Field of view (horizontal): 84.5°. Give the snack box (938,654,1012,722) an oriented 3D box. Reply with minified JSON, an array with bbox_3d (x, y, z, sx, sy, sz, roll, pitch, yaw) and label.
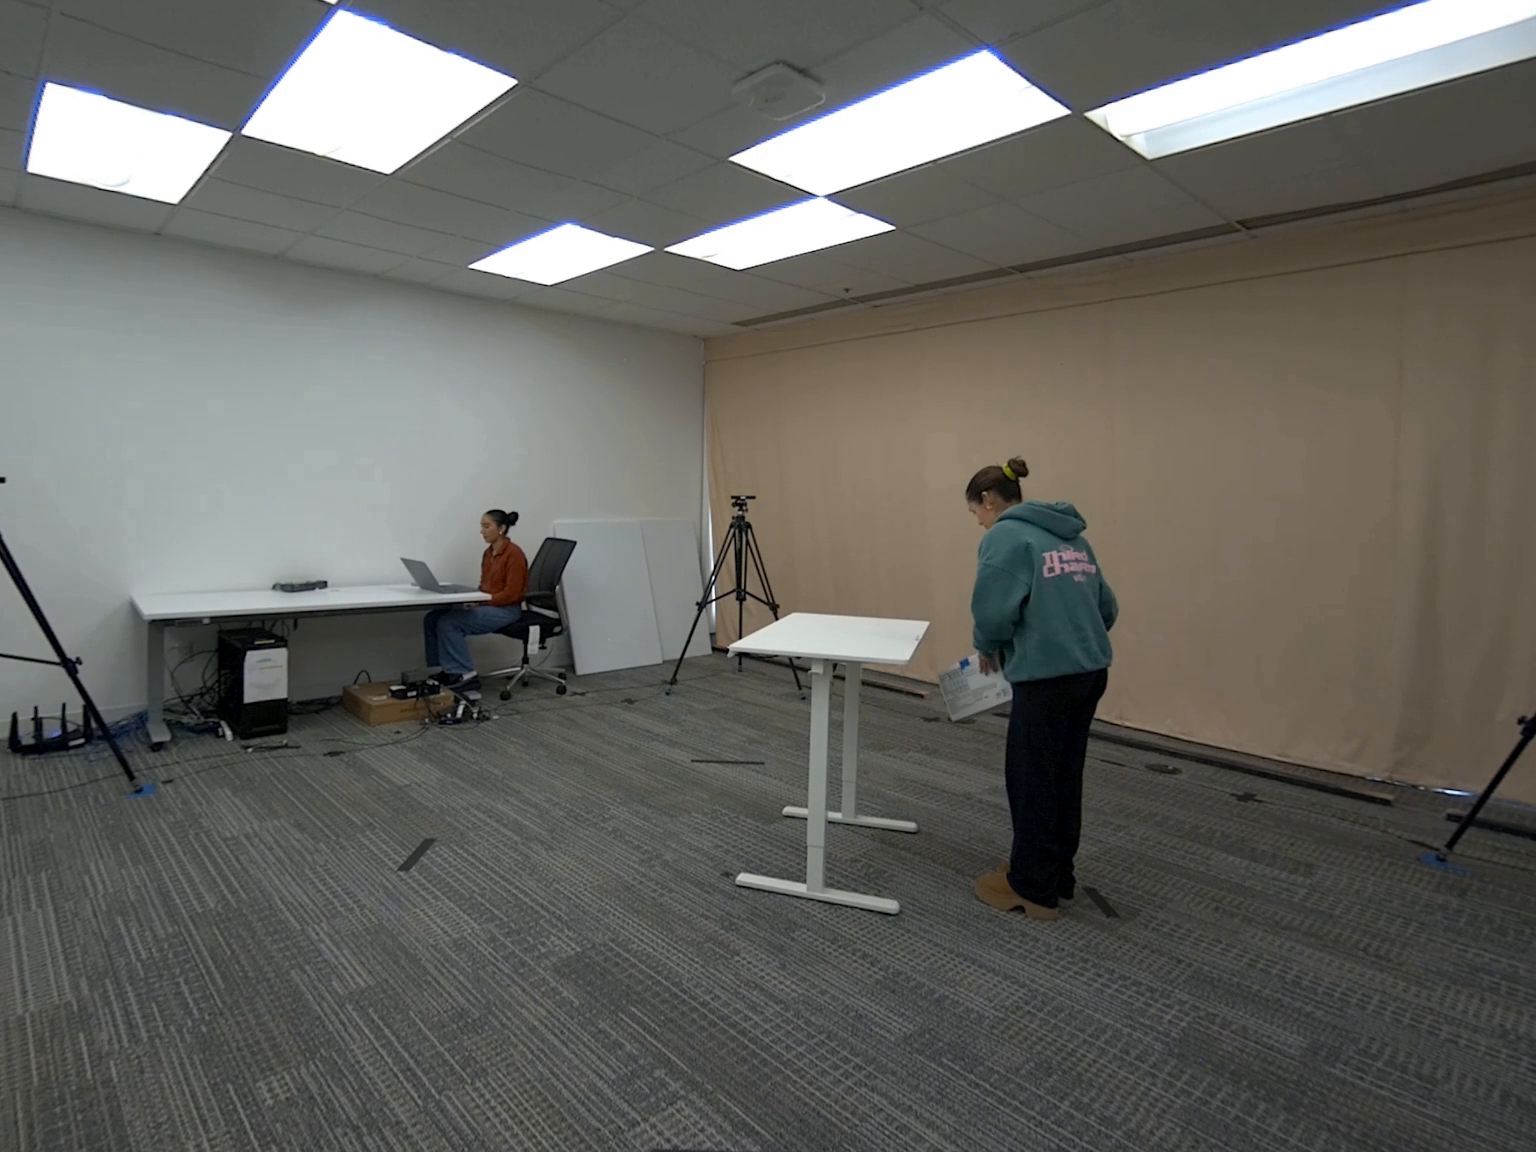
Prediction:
[{"bbox_3d":[0.927,0.402,3.262,0.397,0.209,0.341,-3,-22,-33],"label":"snack box"}]
